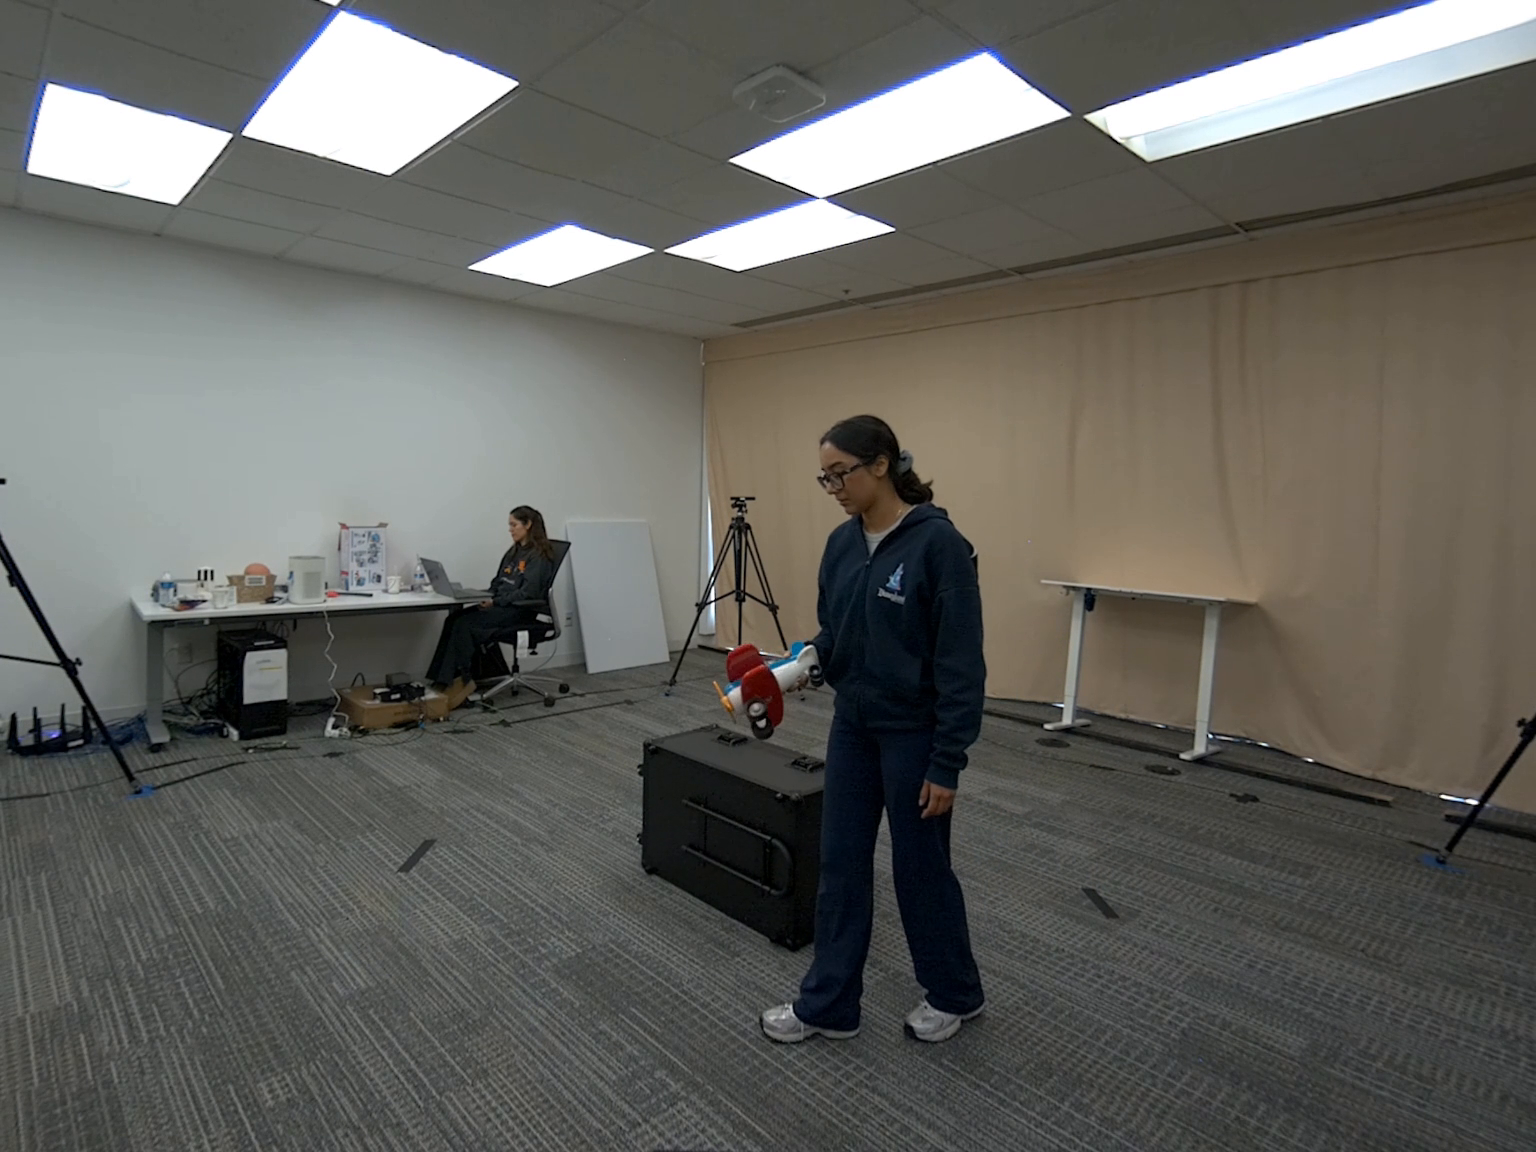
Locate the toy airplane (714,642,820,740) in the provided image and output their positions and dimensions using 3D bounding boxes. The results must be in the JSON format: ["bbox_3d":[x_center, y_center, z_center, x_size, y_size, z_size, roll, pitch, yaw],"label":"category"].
[{"bbox_3d":[0.010,0.282,2.092,0.255,0.247,0.161,-15,40,-39],"label":"toy airplane"}]
